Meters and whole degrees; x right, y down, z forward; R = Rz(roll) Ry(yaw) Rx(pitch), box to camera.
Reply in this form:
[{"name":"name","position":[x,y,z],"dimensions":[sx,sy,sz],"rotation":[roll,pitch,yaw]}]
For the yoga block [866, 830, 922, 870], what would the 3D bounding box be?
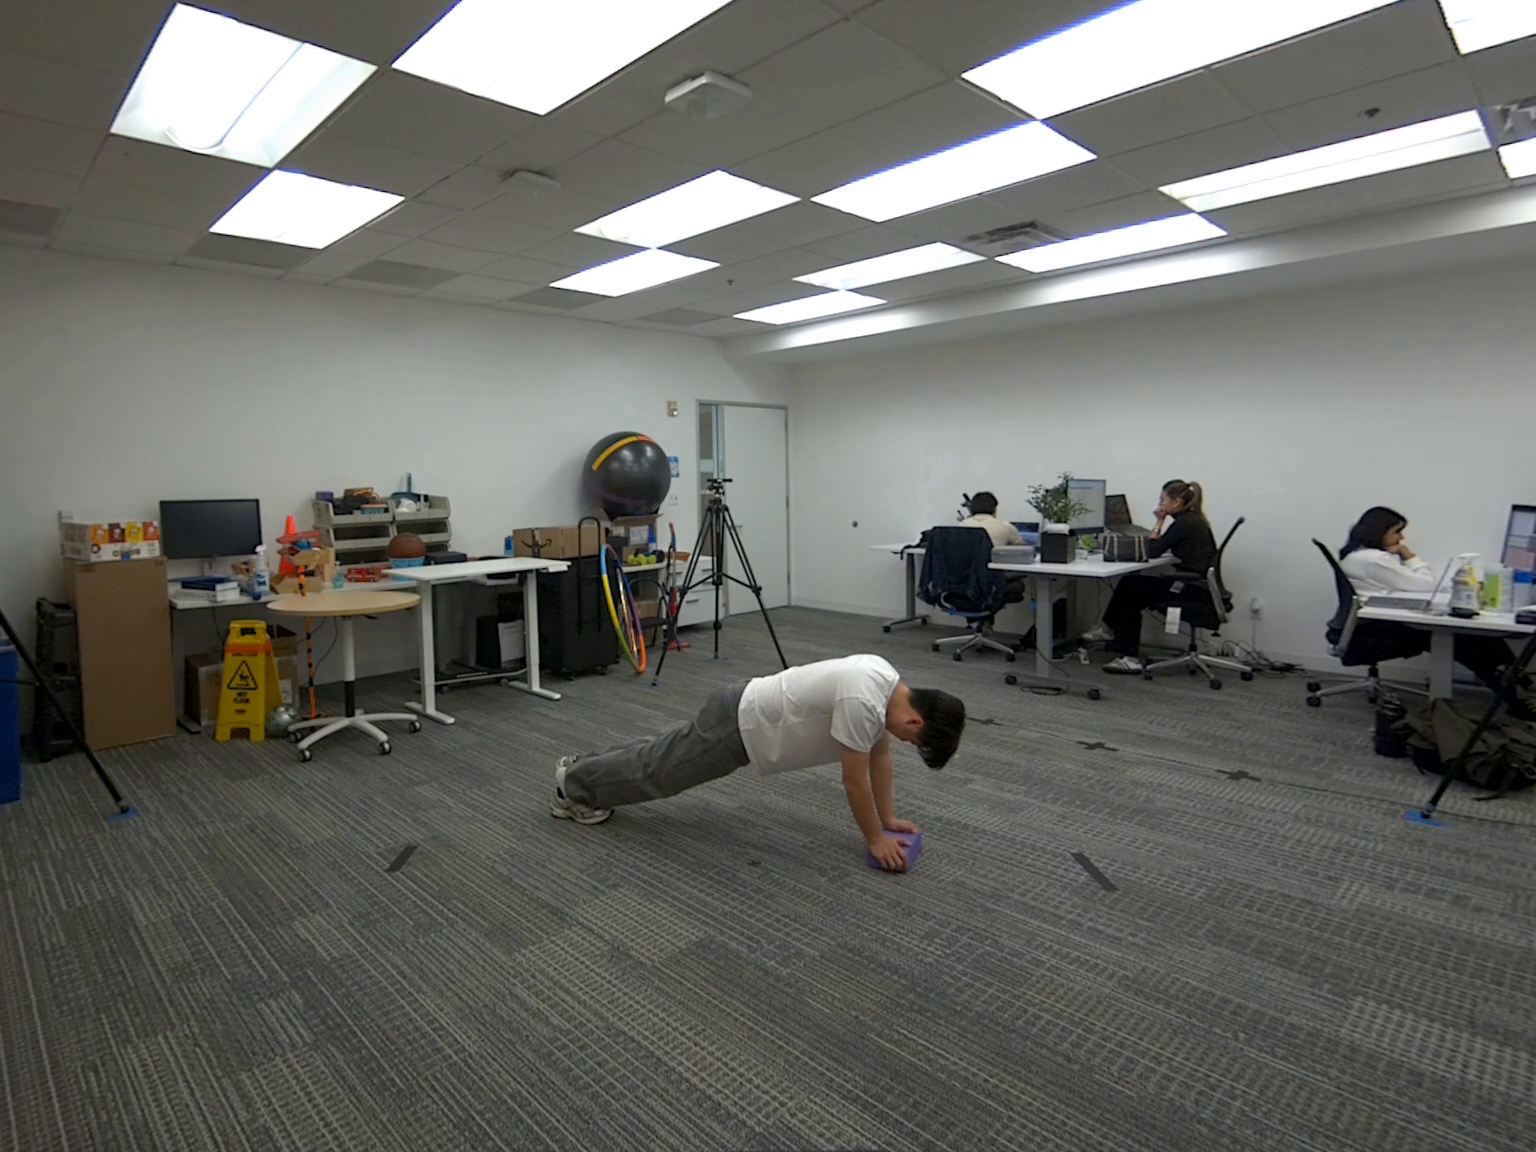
[{"name":"yoga block","position":[0.469,1.002,3.138],"dimensions":[0.153,0.076,0.224],"rotation":[3,6,27]}]
